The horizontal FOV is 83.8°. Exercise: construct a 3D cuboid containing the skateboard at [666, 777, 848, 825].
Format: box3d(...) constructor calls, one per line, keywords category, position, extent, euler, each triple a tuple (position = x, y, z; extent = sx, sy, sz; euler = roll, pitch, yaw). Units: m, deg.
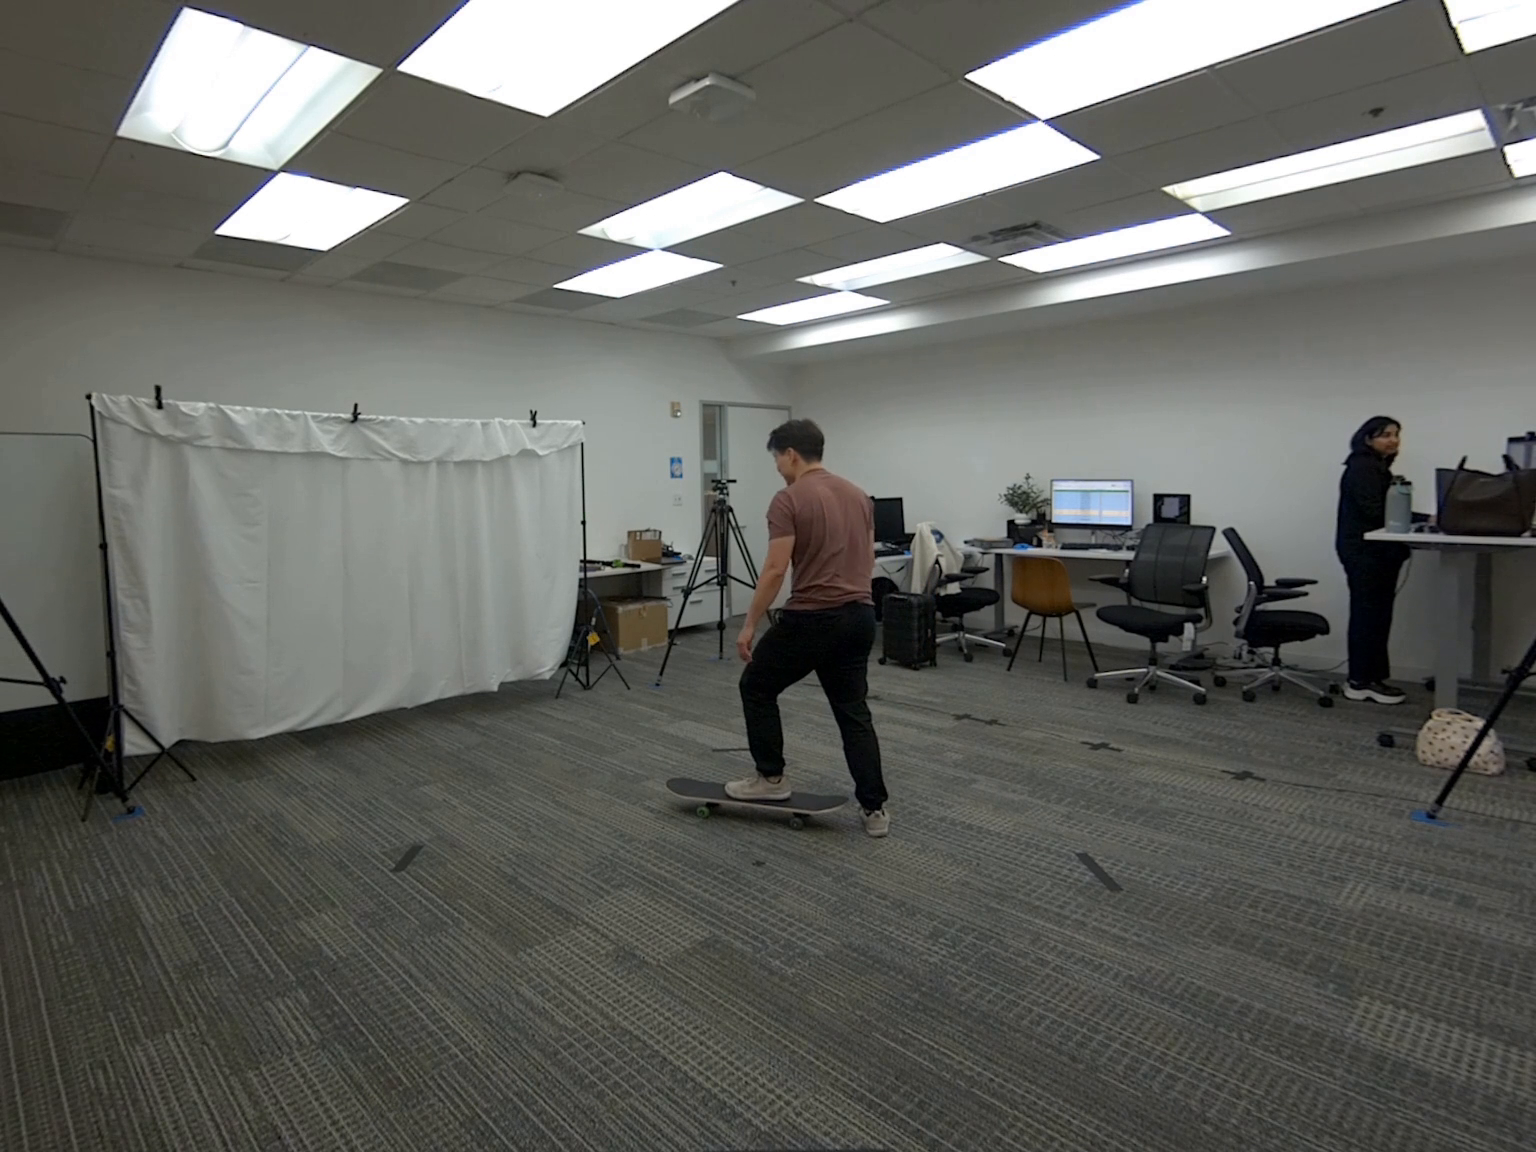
box3d(category="skateboard", position=(-0.046, 0.945, 3.551), extent=(0.800, 0.110, 0.191), euler=(1, 6, 19))
